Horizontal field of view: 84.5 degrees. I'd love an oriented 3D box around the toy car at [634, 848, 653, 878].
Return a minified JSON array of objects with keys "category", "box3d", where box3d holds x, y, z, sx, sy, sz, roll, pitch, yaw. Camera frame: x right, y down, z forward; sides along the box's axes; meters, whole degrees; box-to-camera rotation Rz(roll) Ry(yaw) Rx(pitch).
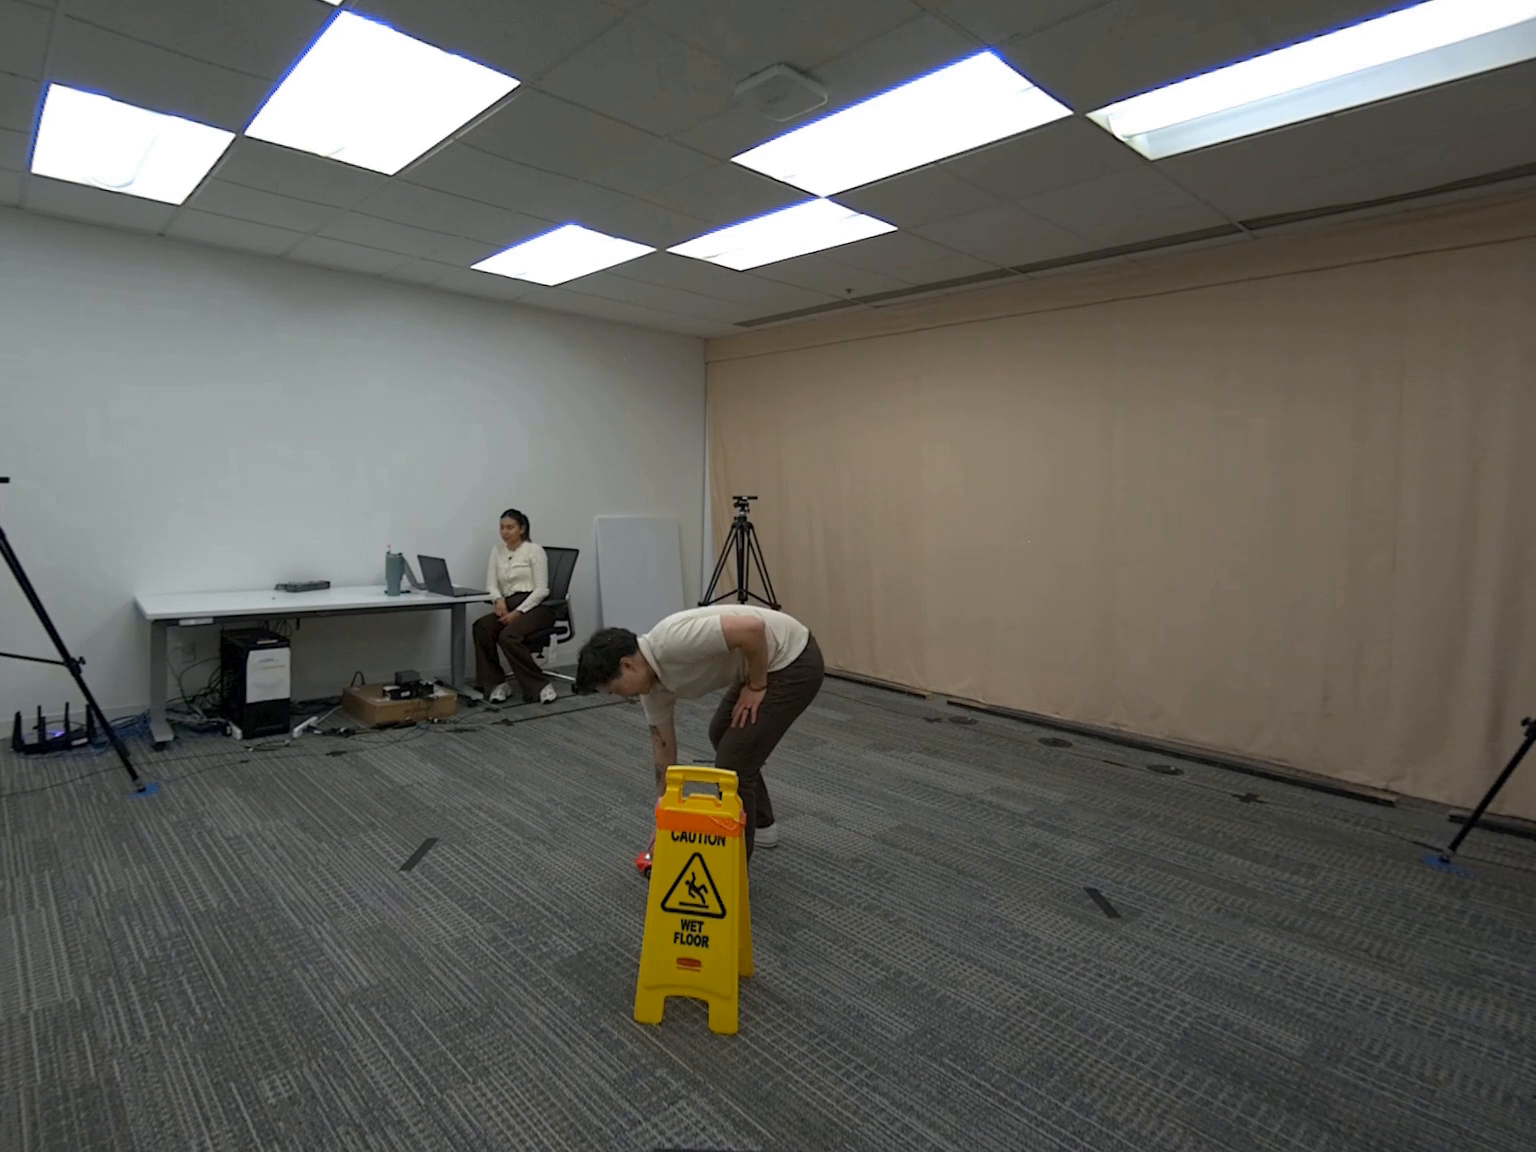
[{"category":"toy car","box3d":[-0.375,1.071,3.093,0.258,0.083,0.129,15,8,13]}]
